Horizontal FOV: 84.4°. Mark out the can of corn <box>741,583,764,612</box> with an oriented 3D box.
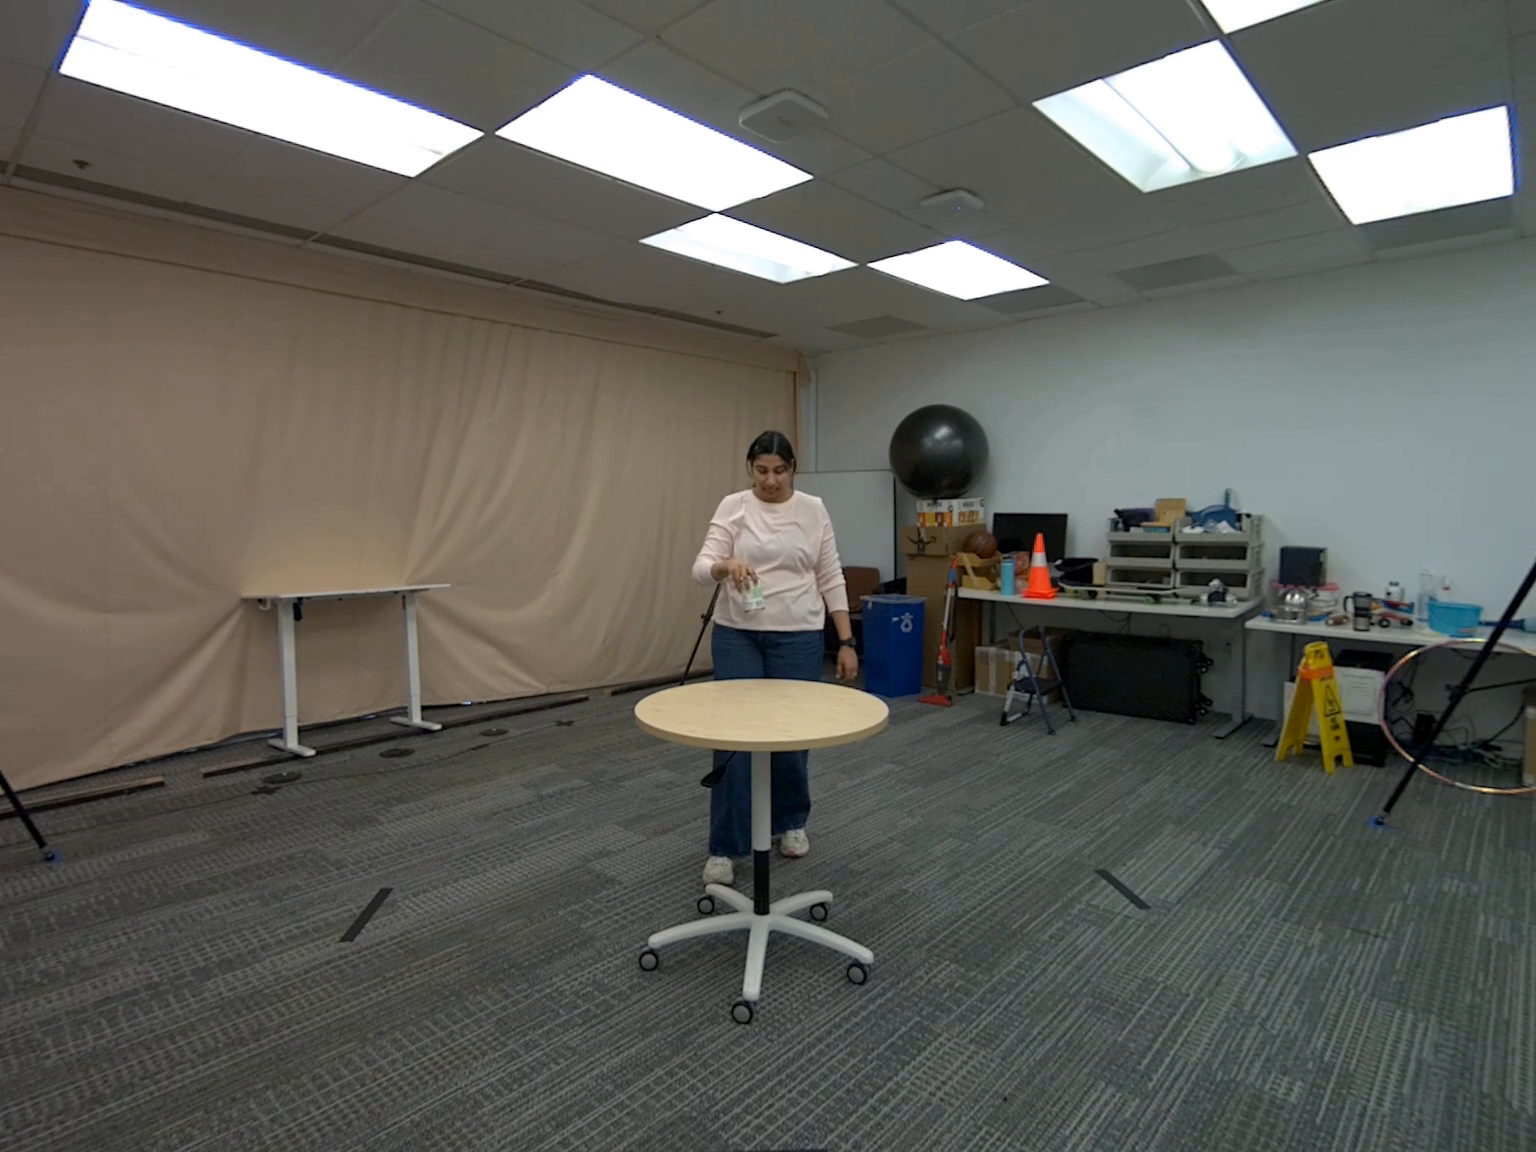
[{"bbox_3d":[-0.055,0.078,2.938,0.074,0.111,0.074,-8,-5,-3],"label":"can of corn"}]
